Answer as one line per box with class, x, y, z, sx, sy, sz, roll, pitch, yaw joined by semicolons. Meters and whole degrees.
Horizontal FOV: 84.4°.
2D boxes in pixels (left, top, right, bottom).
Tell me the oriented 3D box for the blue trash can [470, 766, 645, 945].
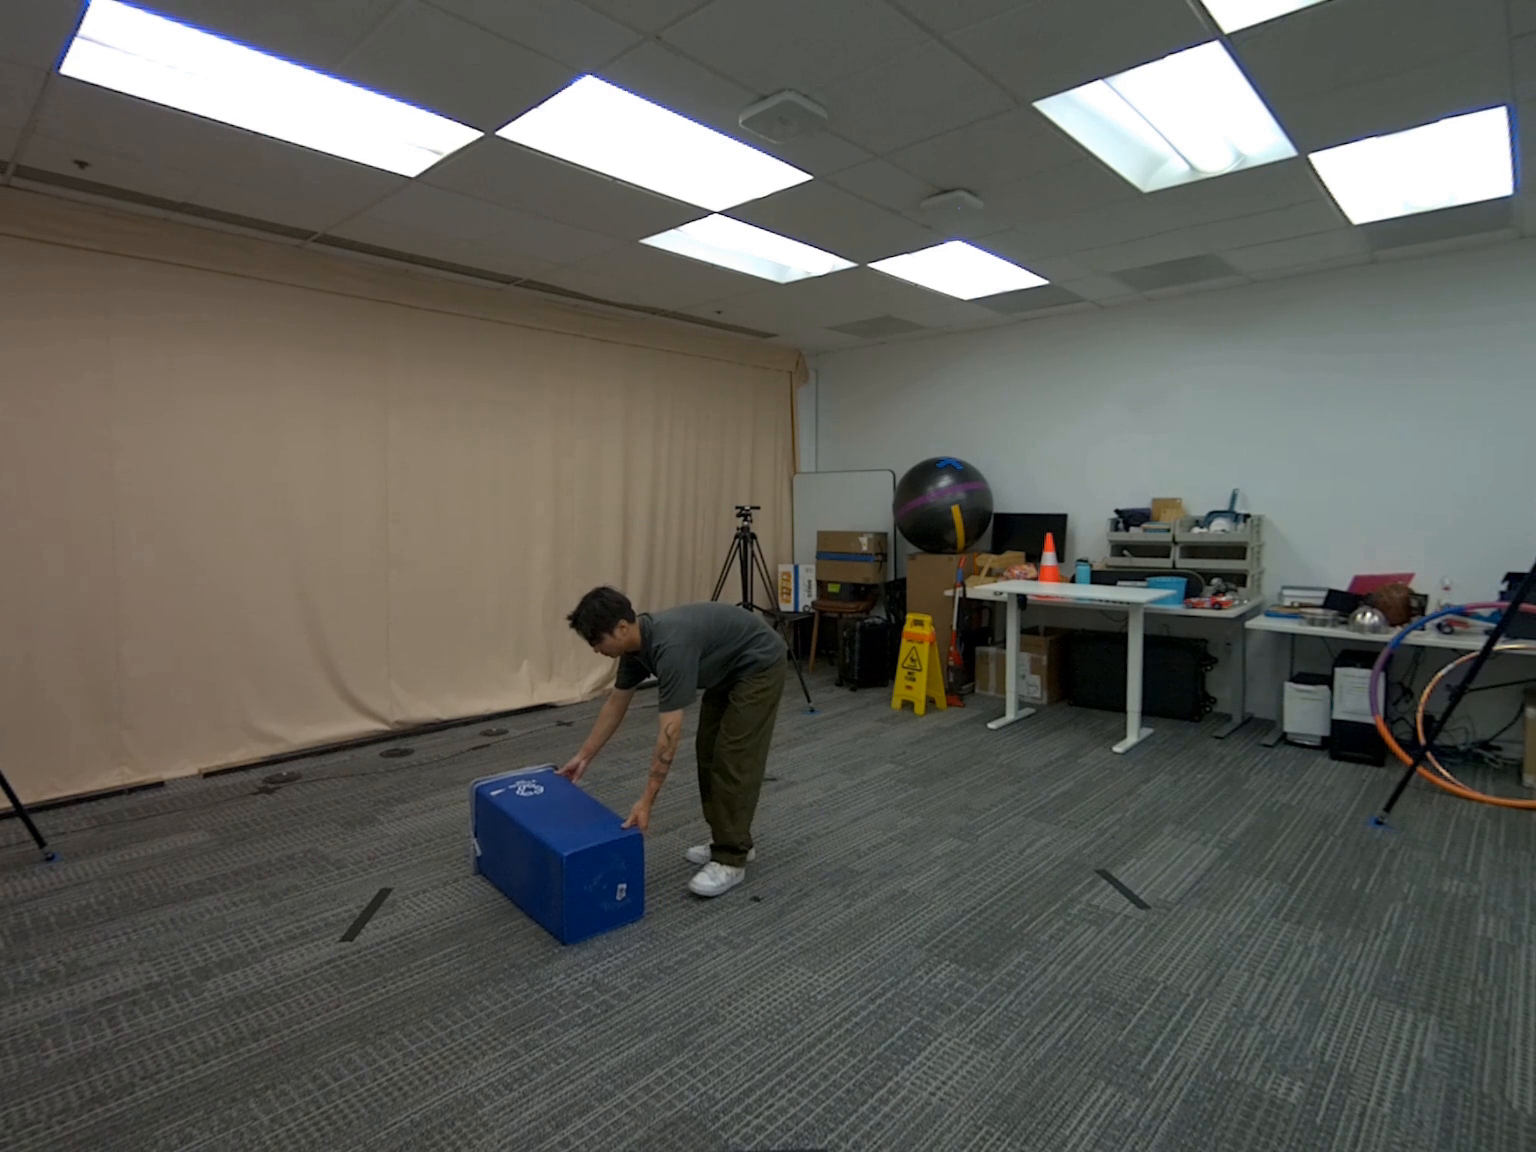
blue trash can;-0.763;0.976;3.020;0.367;0.373;0.737;-3;7;-39
